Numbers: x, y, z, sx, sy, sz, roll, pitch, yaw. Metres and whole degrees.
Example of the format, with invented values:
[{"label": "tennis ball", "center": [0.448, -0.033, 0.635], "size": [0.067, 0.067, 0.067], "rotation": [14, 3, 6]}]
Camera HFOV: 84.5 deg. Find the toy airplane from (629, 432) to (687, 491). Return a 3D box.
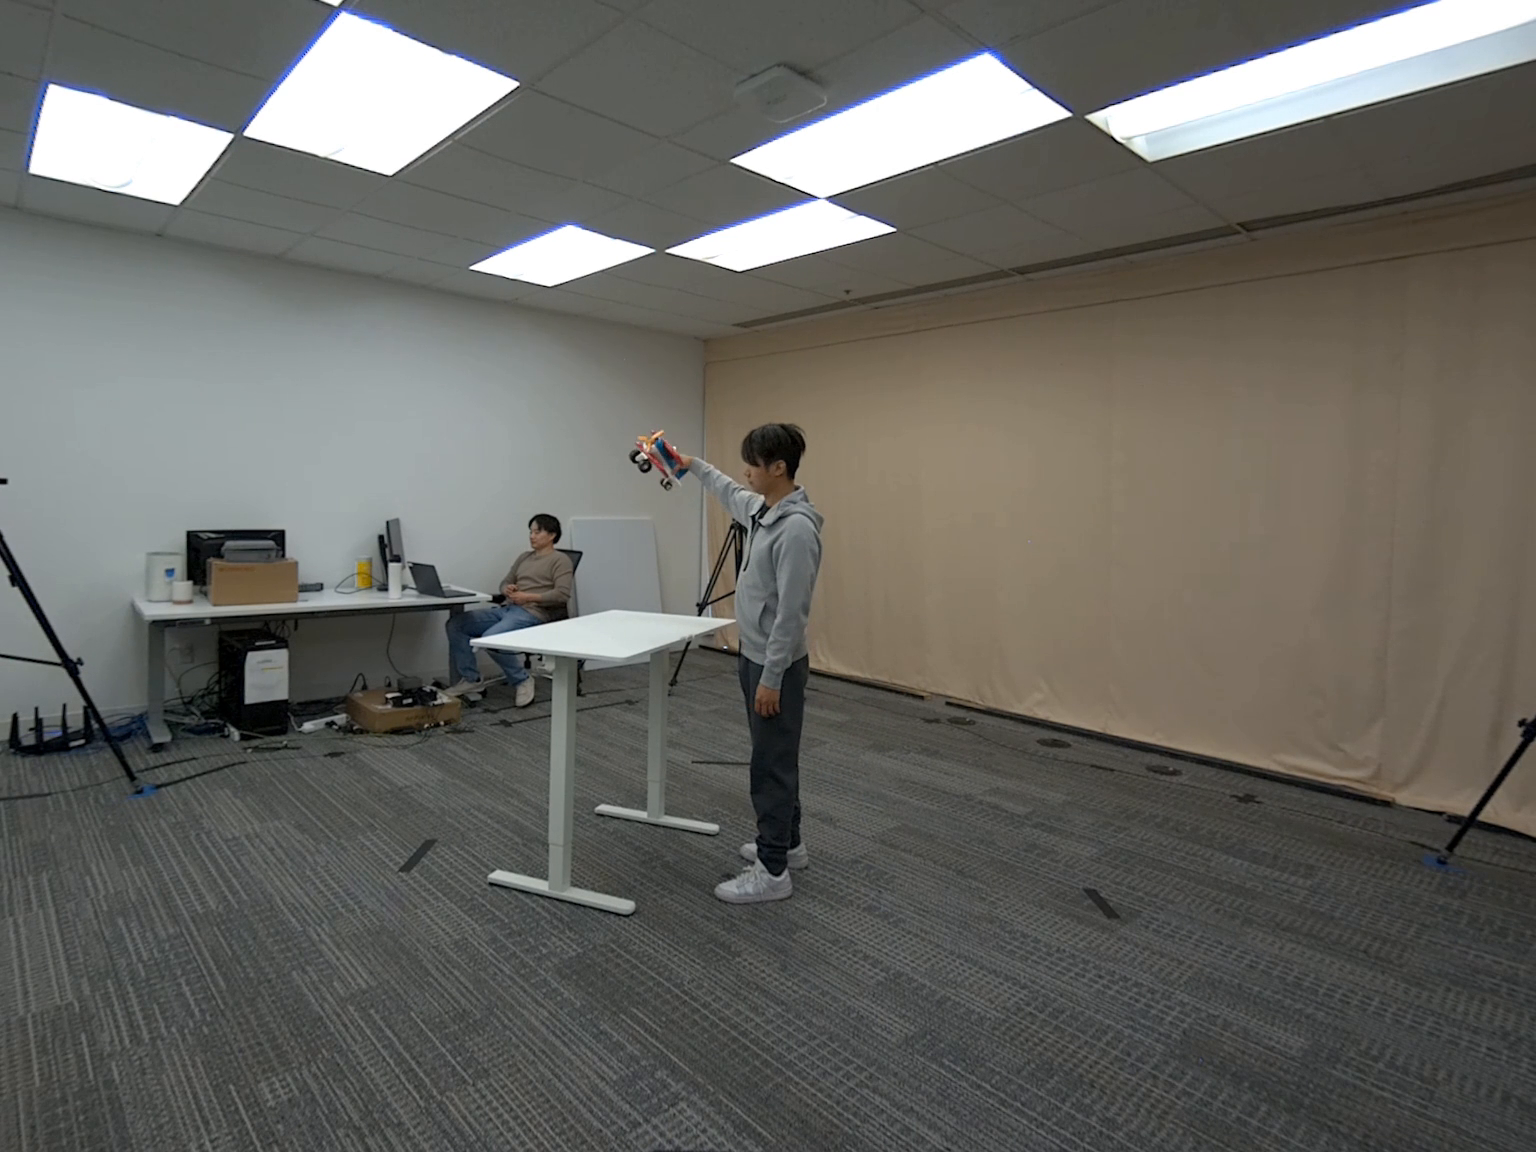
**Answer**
[{"label": "toy airplane", "center": [-0.454, -0.465, 3.445], "size": [0.256, 0.156, 0.254], "rotation": [43, 6, 17]}]
